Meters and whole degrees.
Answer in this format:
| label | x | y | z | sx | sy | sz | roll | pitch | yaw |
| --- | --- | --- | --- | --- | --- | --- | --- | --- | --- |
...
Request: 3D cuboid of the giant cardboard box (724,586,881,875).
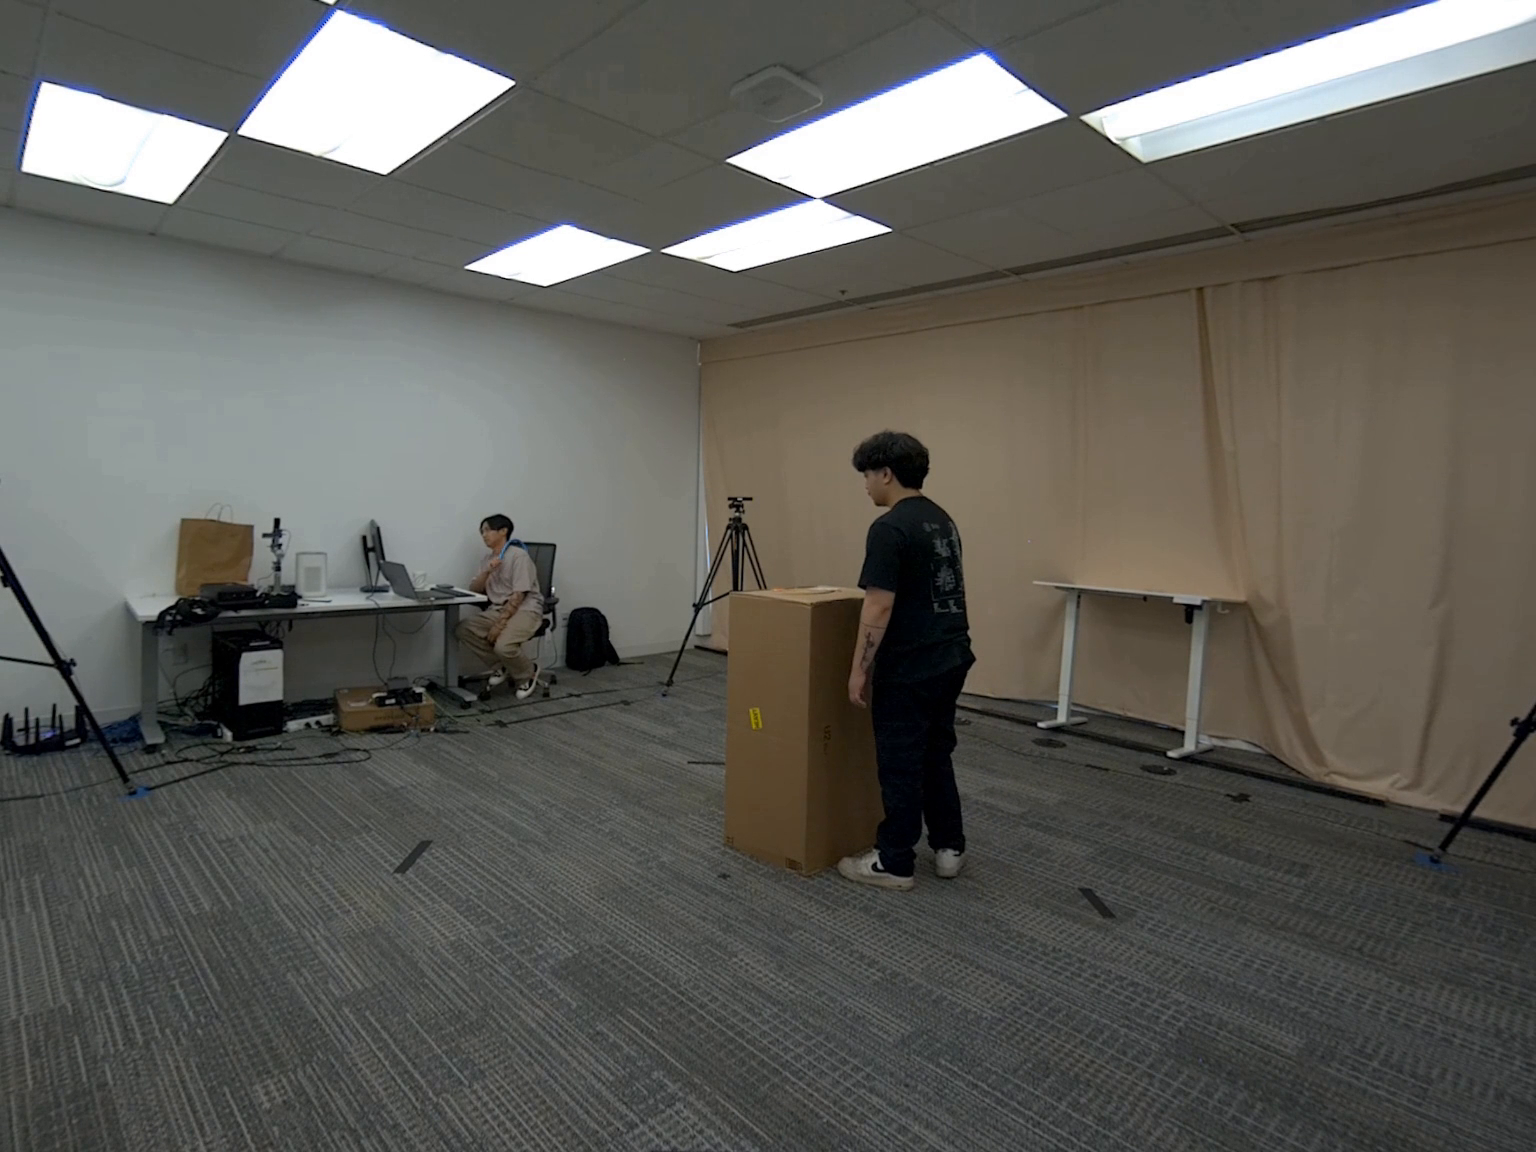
| label | x | y | z | sx | sy | sz | roll | pitch | yaw |
| --- | --- | --- | --- | --- | --- | --- | --- | --- | --- |
| giant cardboard box | 0.168 | 0.577 | 3.438 | 0.458 | 1.025 | 0.570 | 3 | 4 | 44 |
